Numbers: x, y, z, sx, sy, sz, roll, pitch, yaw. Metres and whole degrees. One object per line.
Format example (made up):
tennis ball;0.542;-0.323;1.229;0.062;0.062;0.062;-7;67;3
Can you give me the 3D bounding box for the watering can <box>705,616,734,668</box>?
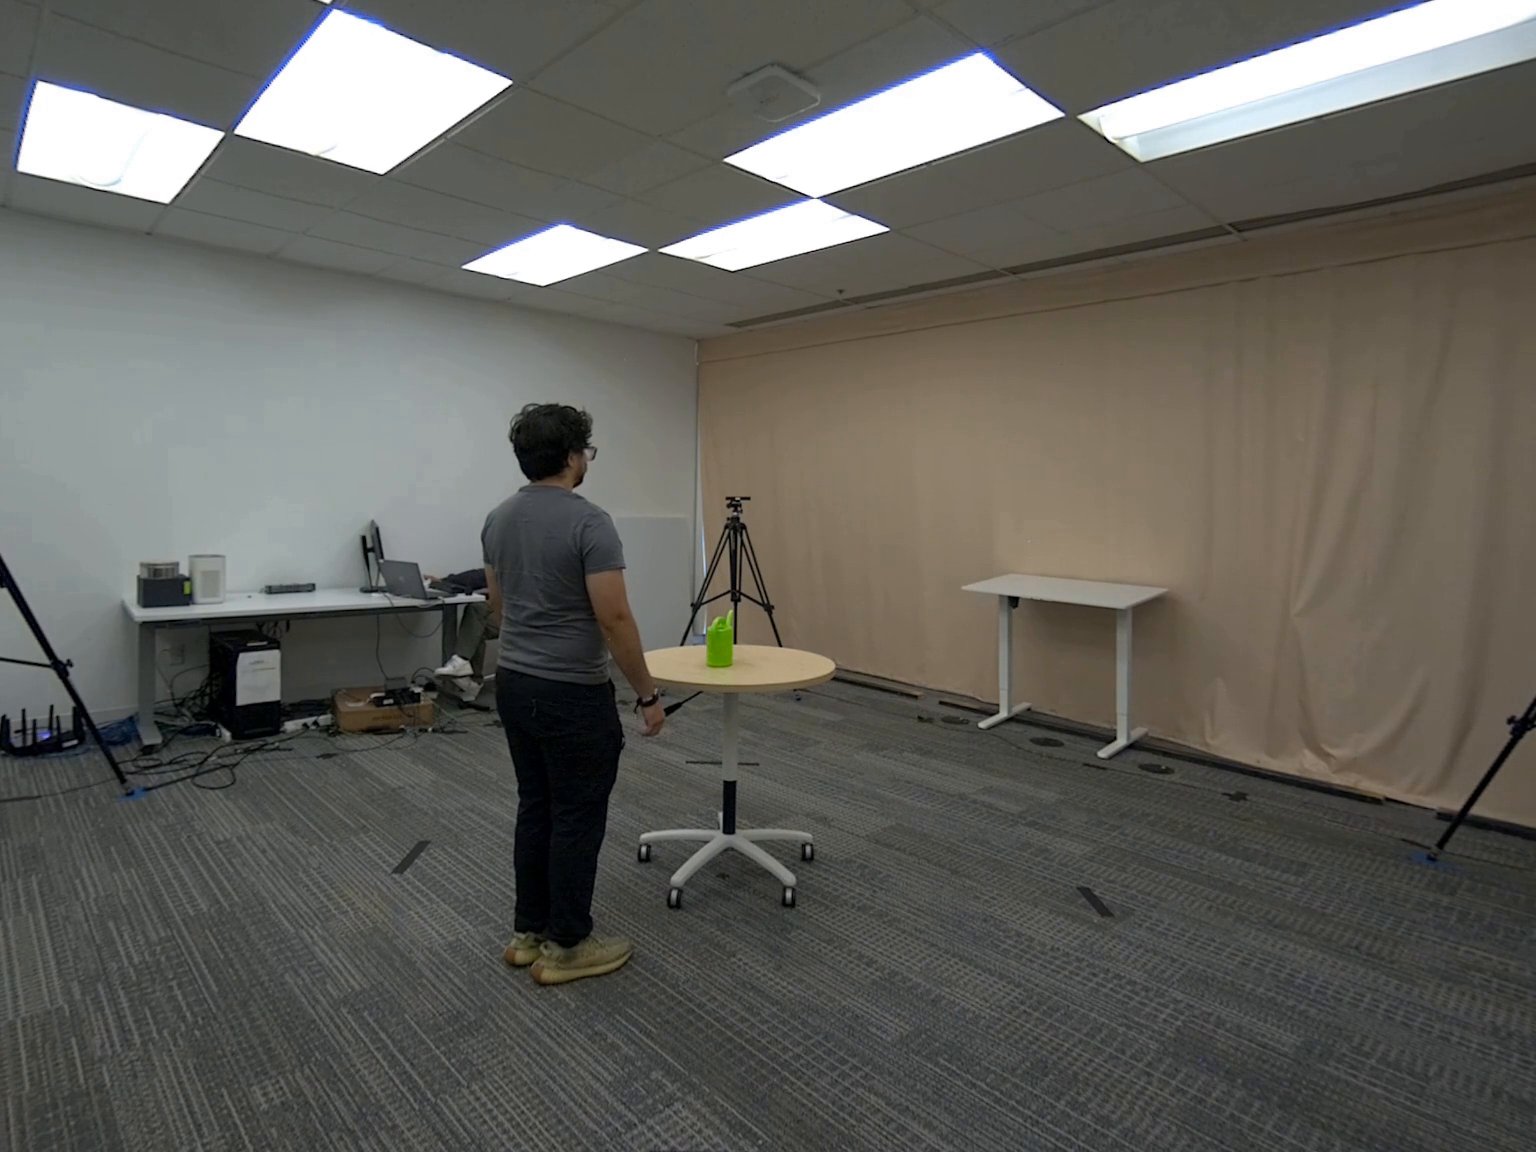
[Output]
watering can;-0.168;0.236;3.118;0.100;0.176;0.274;2;6;22
